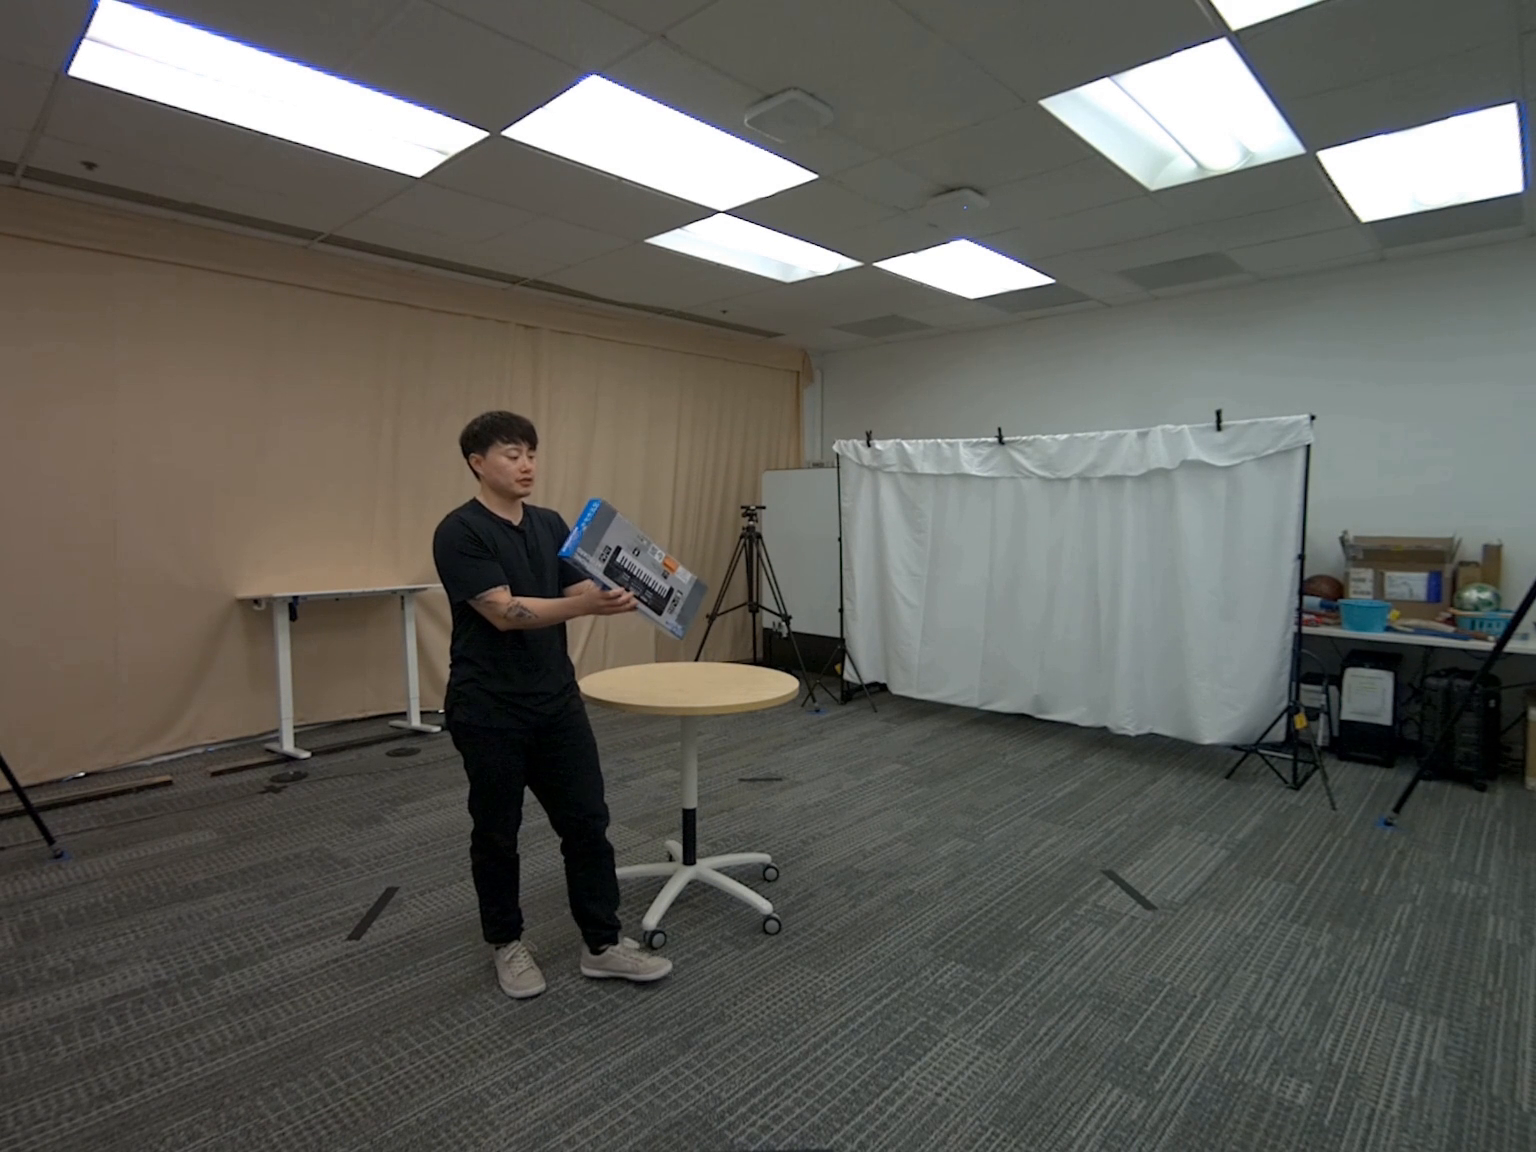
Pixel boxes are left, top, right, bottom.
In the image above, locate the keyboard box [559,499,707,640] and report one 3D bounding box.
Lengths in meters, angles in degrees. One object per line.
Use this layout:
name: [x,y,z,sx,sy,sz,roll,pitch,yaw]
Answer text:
keyboard box: [-0.337,-0.011,2.202,0.061,0.176,0.422,6,-29,46]
